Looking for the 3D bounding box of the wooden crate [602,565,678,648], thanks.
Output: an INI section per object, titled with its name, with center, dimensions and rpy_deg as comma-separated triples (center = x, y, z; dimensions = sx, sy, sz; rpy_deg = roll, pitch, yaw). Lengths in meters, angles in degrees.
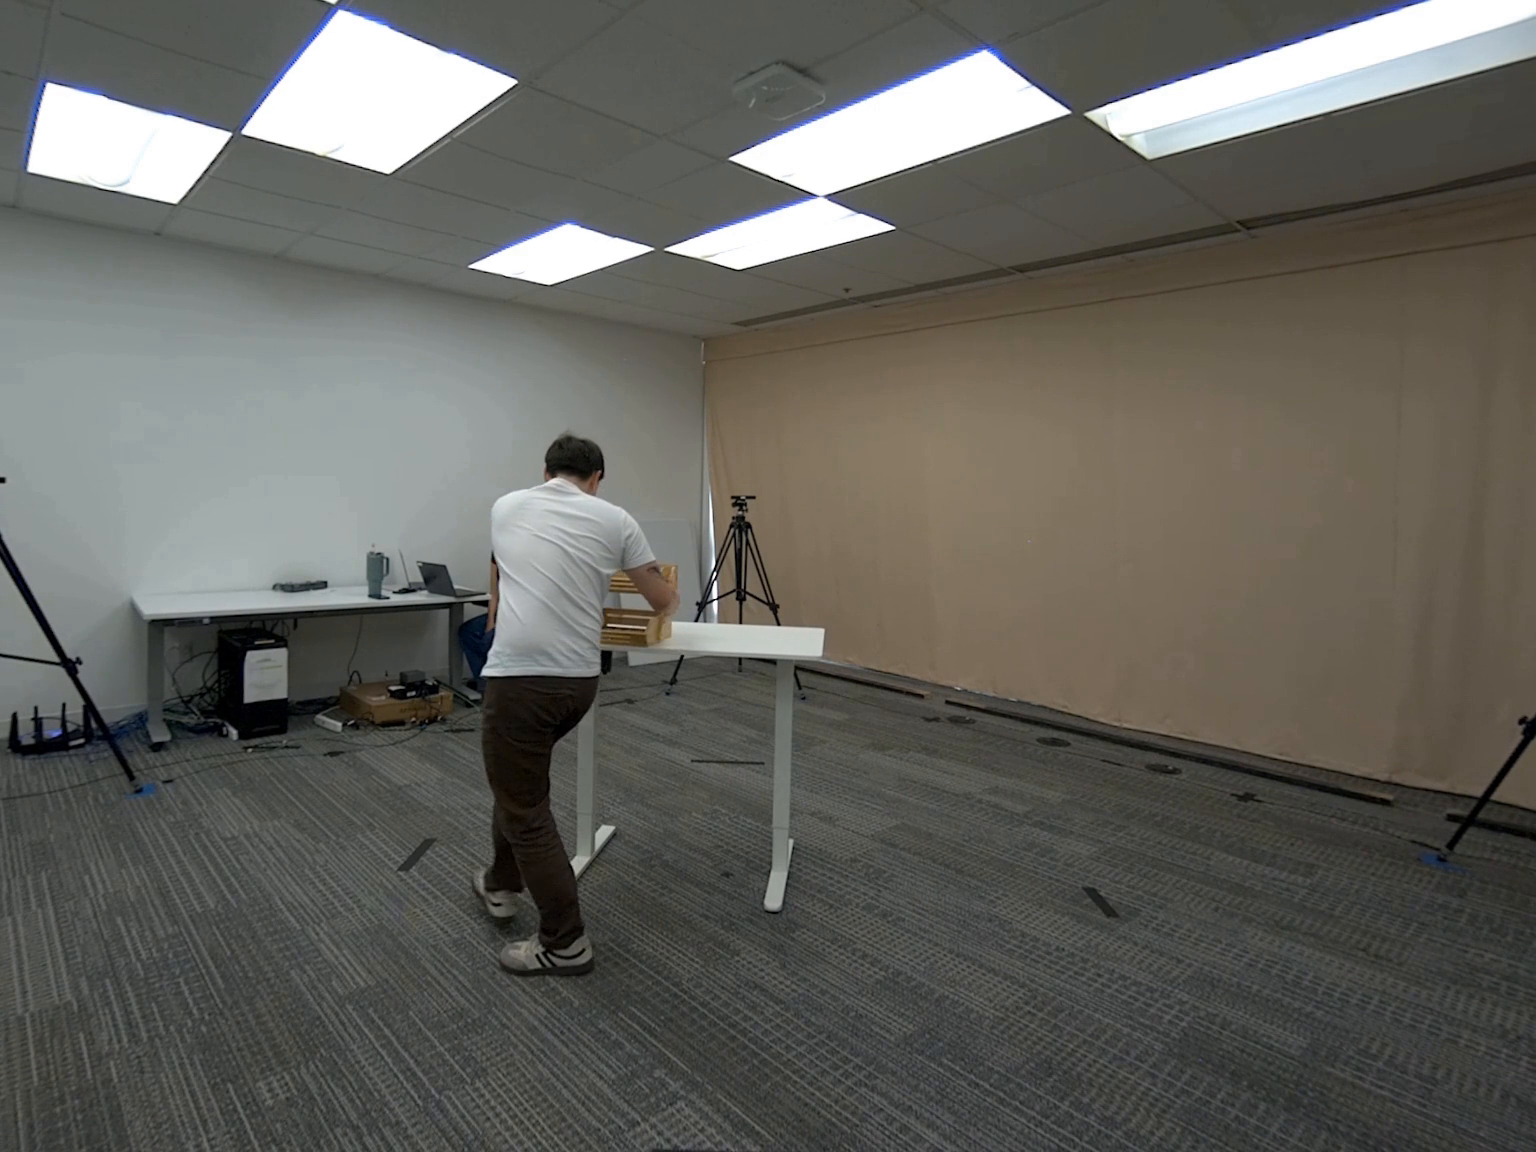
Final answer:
[wooden crate]
center = -0.525, 0.091, 2.999
dimensions = 0.328, 0.273, 0.299
rpy_deg = 3, 4, 15
